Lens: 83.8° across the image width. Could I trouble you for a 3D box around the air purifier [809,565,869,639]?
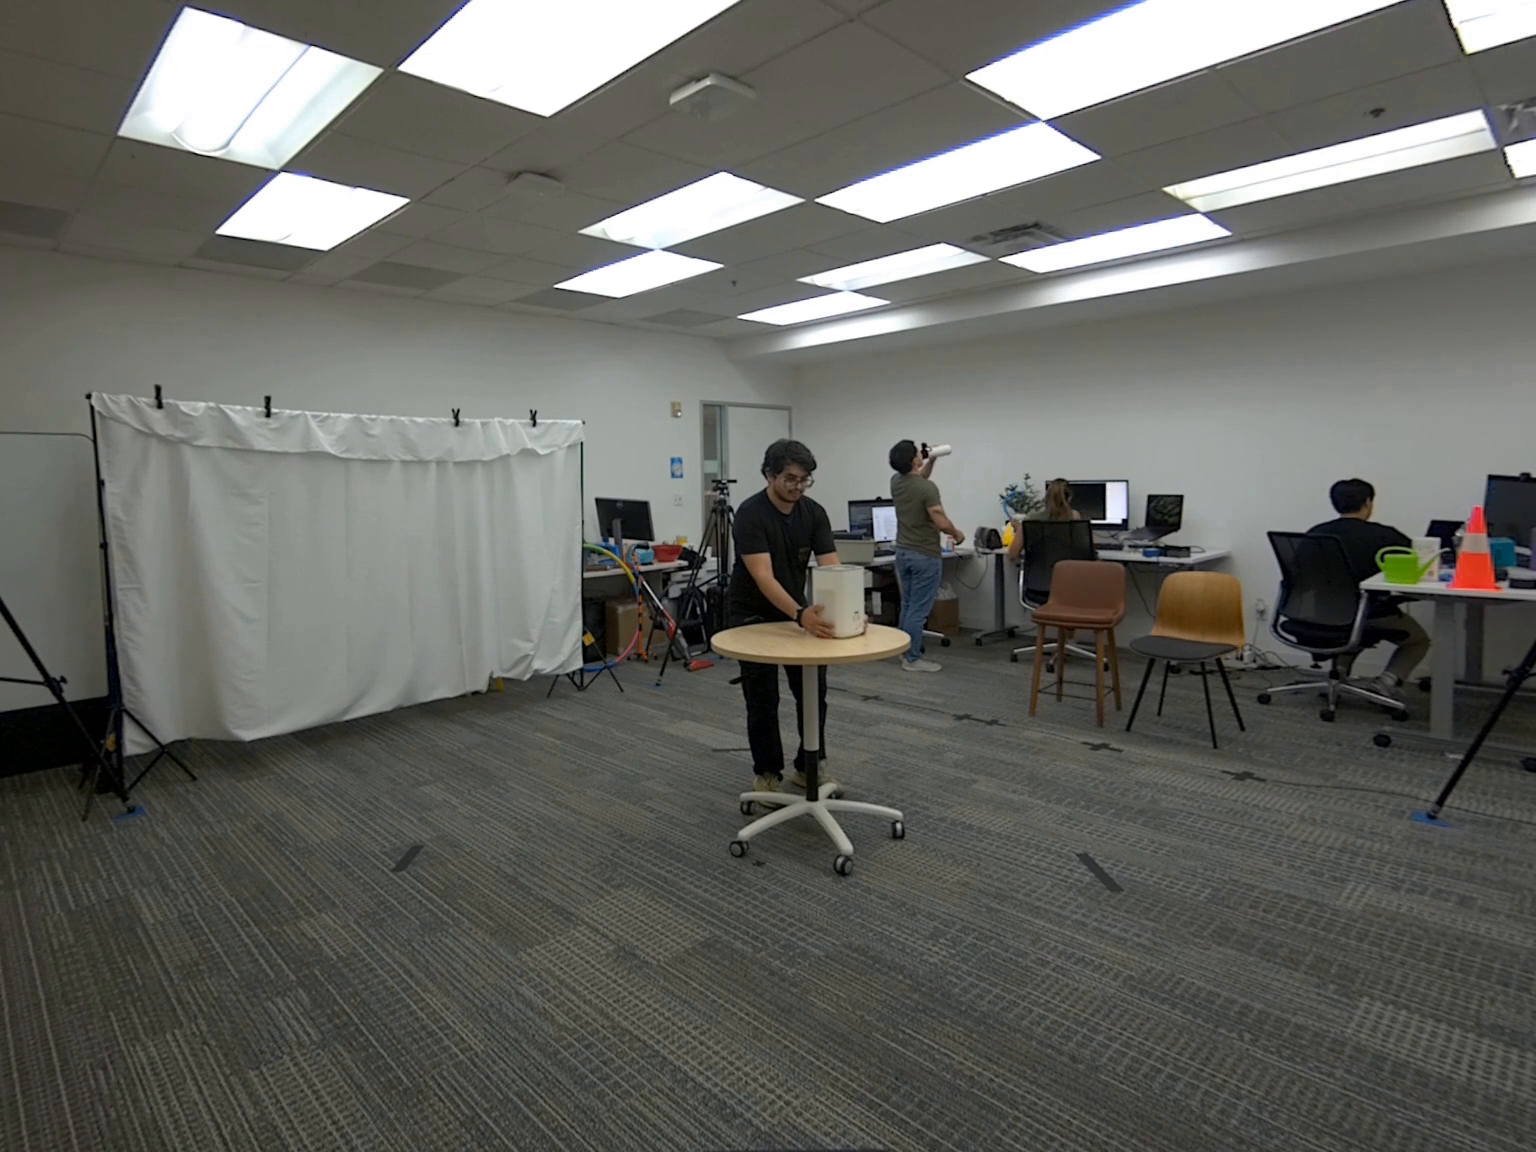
[{"bbox_3d":[0.278,0.099,3.335,0.177,0.264,0.167,3,6,39],"label":"air purifier"}]
